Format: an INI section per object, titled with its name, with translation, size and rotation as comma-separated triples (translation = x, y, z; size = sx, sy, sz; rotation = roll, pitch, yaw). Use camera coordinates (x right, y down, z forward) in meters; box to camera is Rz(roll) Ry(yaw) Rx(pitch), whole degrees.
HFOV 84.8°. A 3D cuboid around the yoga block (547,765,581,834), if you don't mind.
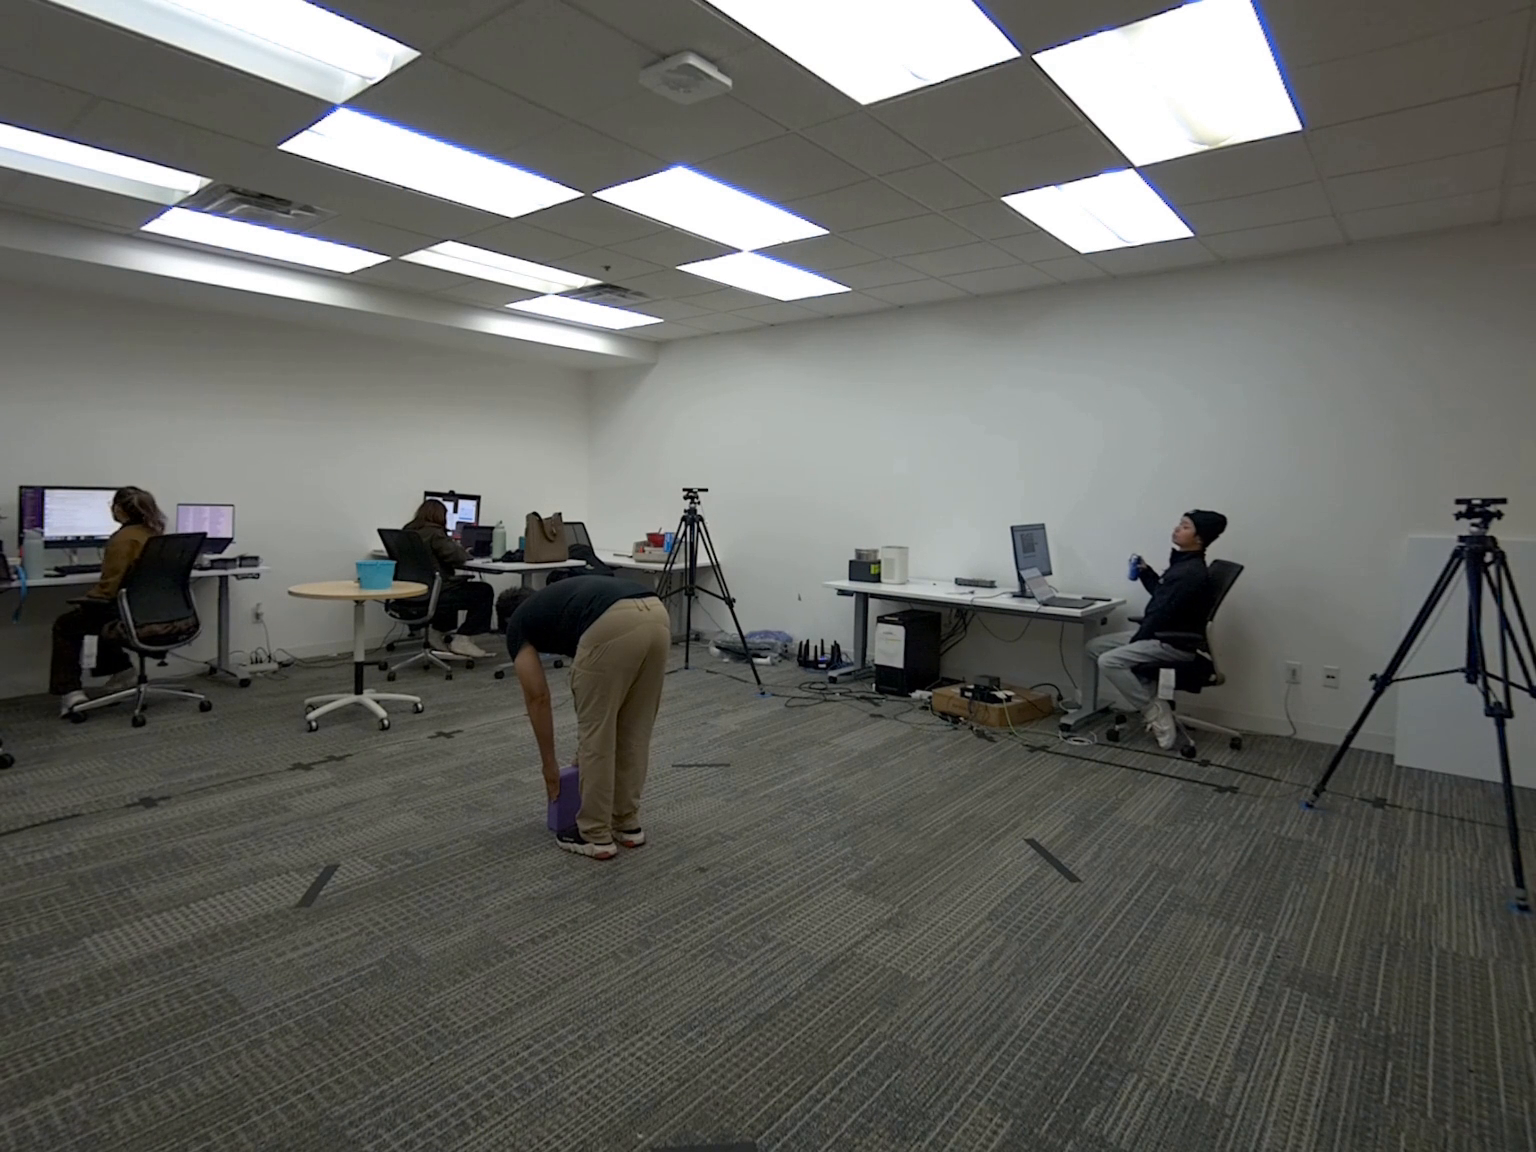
[yoga block]
translation = -0.841, 0.910, 3.487
size = 0.079, 0.229, 0.144
rotation = 3, 4, 41
